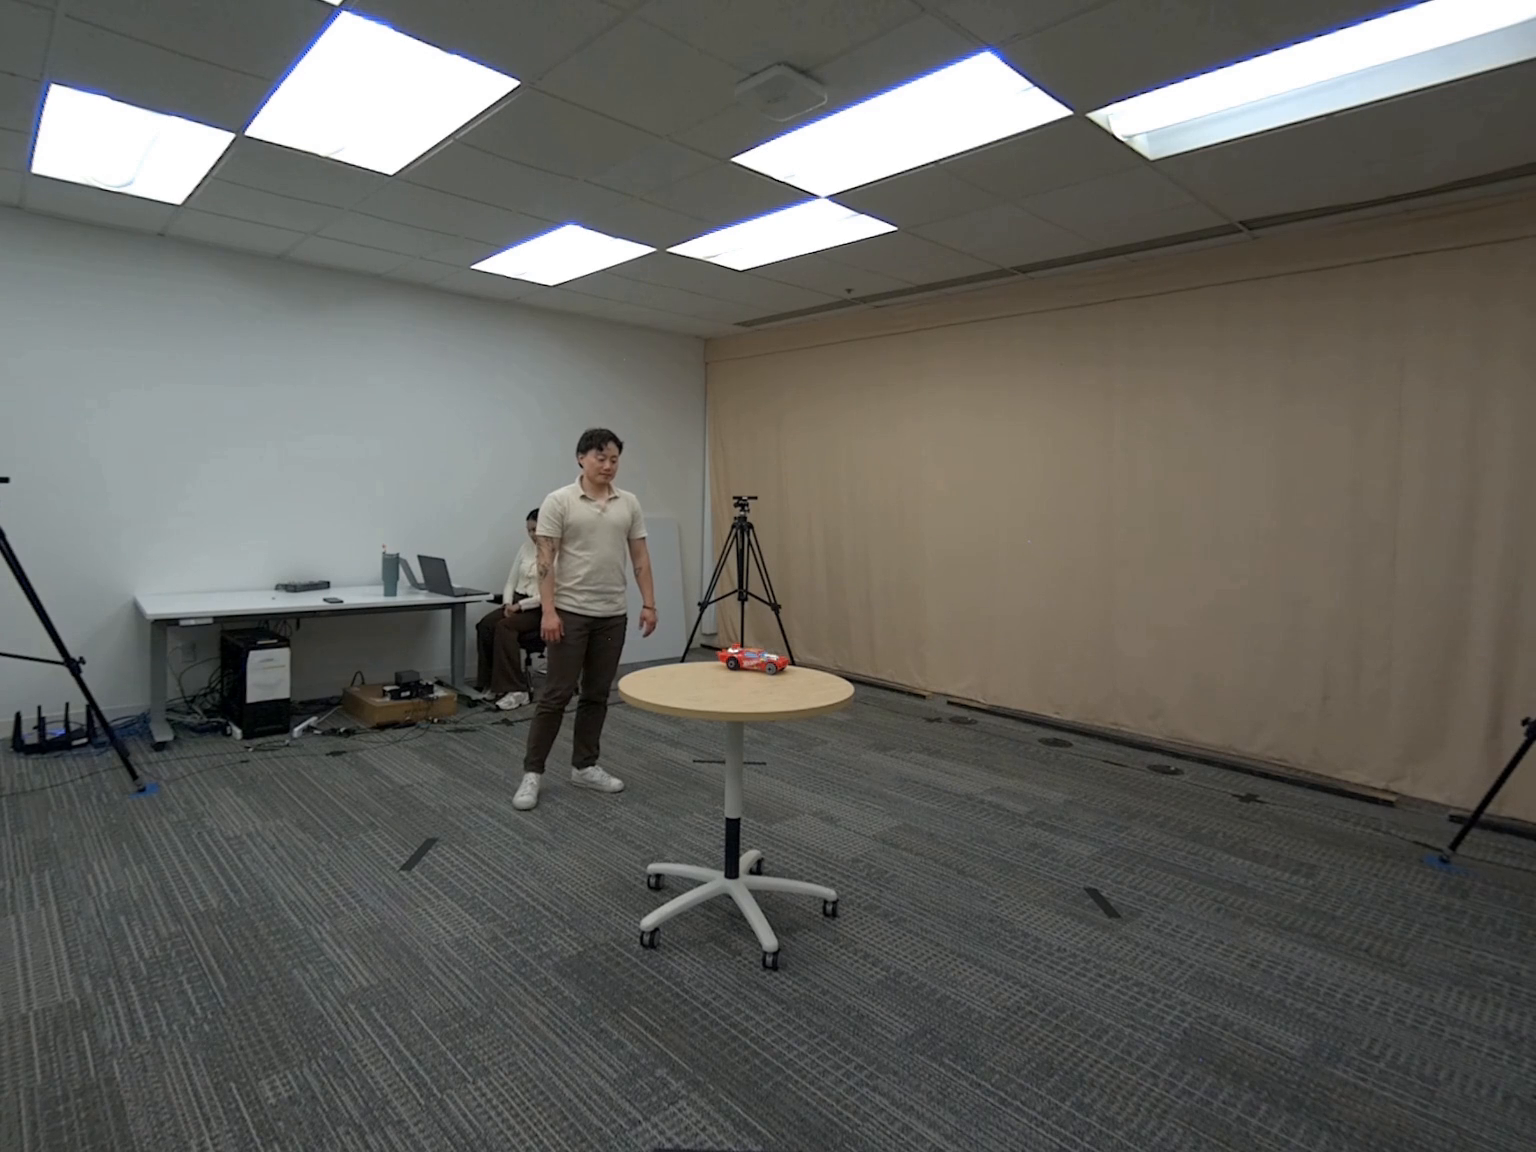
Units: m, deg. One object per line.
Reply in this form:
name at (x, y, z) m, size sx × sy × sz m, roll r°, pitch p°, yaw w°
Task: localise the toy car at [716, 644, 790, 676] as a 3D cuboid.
toy car at (-0.064, 0.302, 2.986) m, size 0.260 × 0.083 × 0.128 m, roll 16°, pitch 10°, yaw 23°
